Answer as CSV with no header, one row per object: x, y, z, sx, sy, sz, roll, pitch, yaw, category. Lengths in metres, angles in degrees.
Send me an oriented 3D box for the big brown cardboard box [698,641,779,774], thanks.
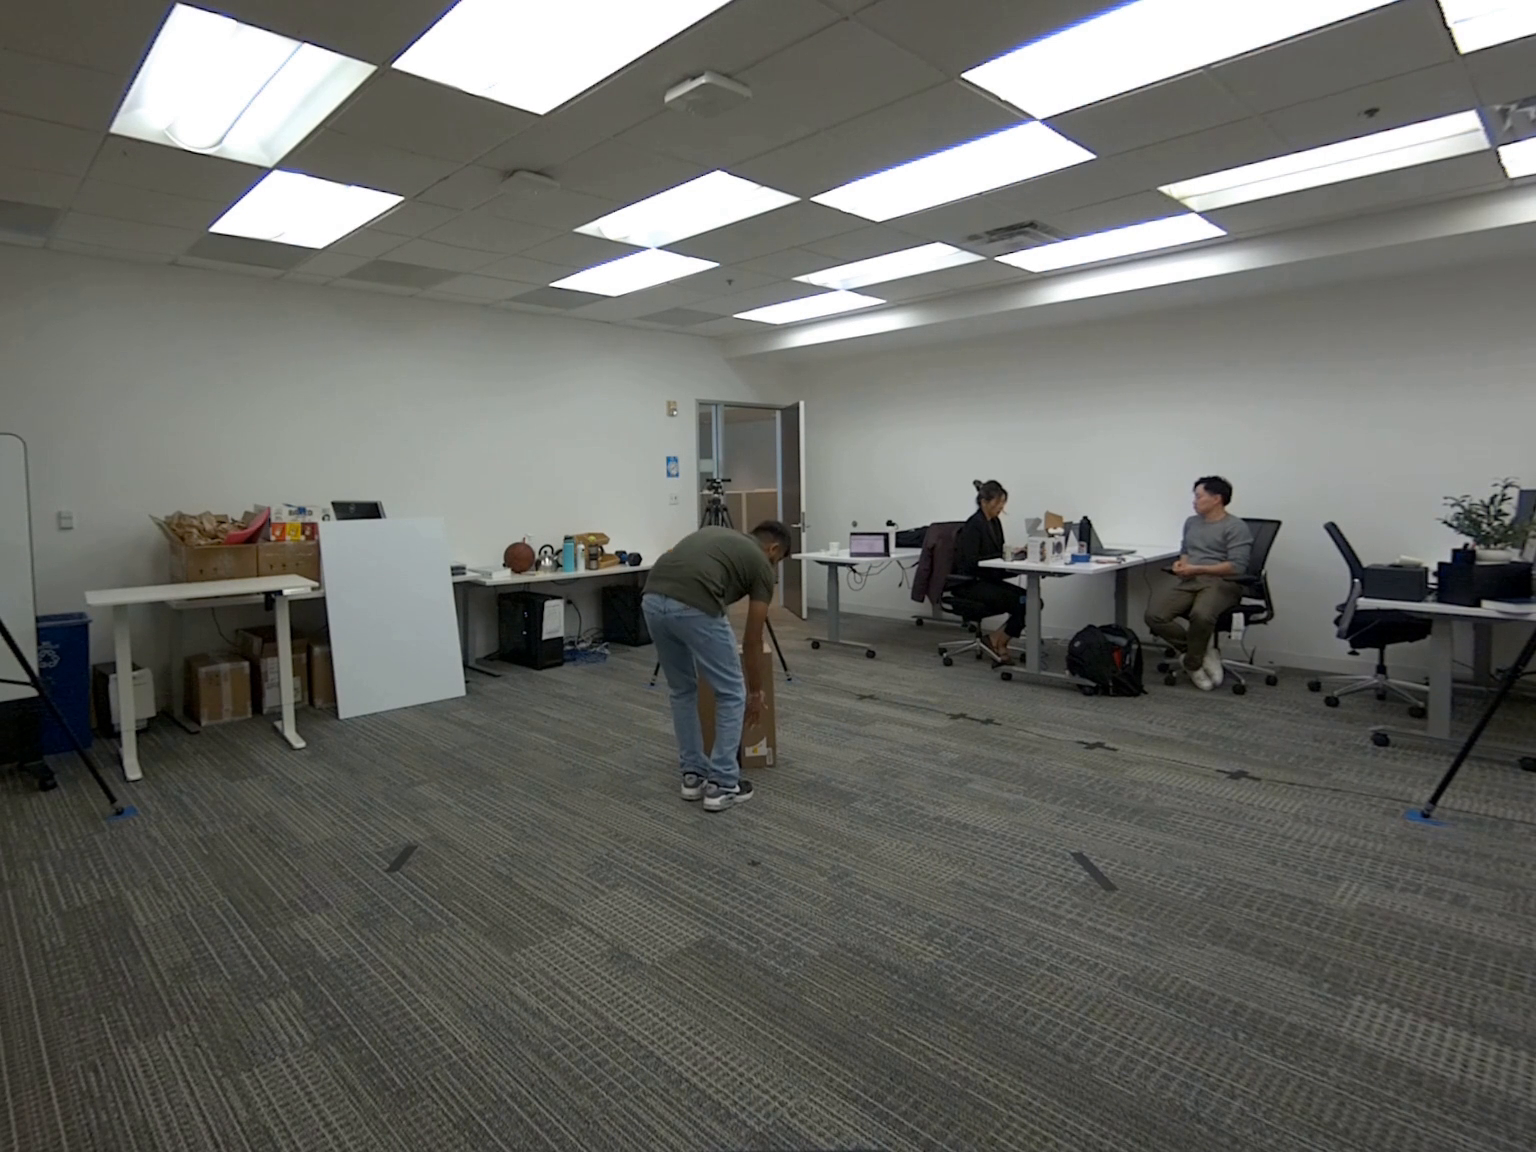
-0.183,0.644,4.230,0.416,0.587,0.234,-2,3,-4,big brown cardboard box
